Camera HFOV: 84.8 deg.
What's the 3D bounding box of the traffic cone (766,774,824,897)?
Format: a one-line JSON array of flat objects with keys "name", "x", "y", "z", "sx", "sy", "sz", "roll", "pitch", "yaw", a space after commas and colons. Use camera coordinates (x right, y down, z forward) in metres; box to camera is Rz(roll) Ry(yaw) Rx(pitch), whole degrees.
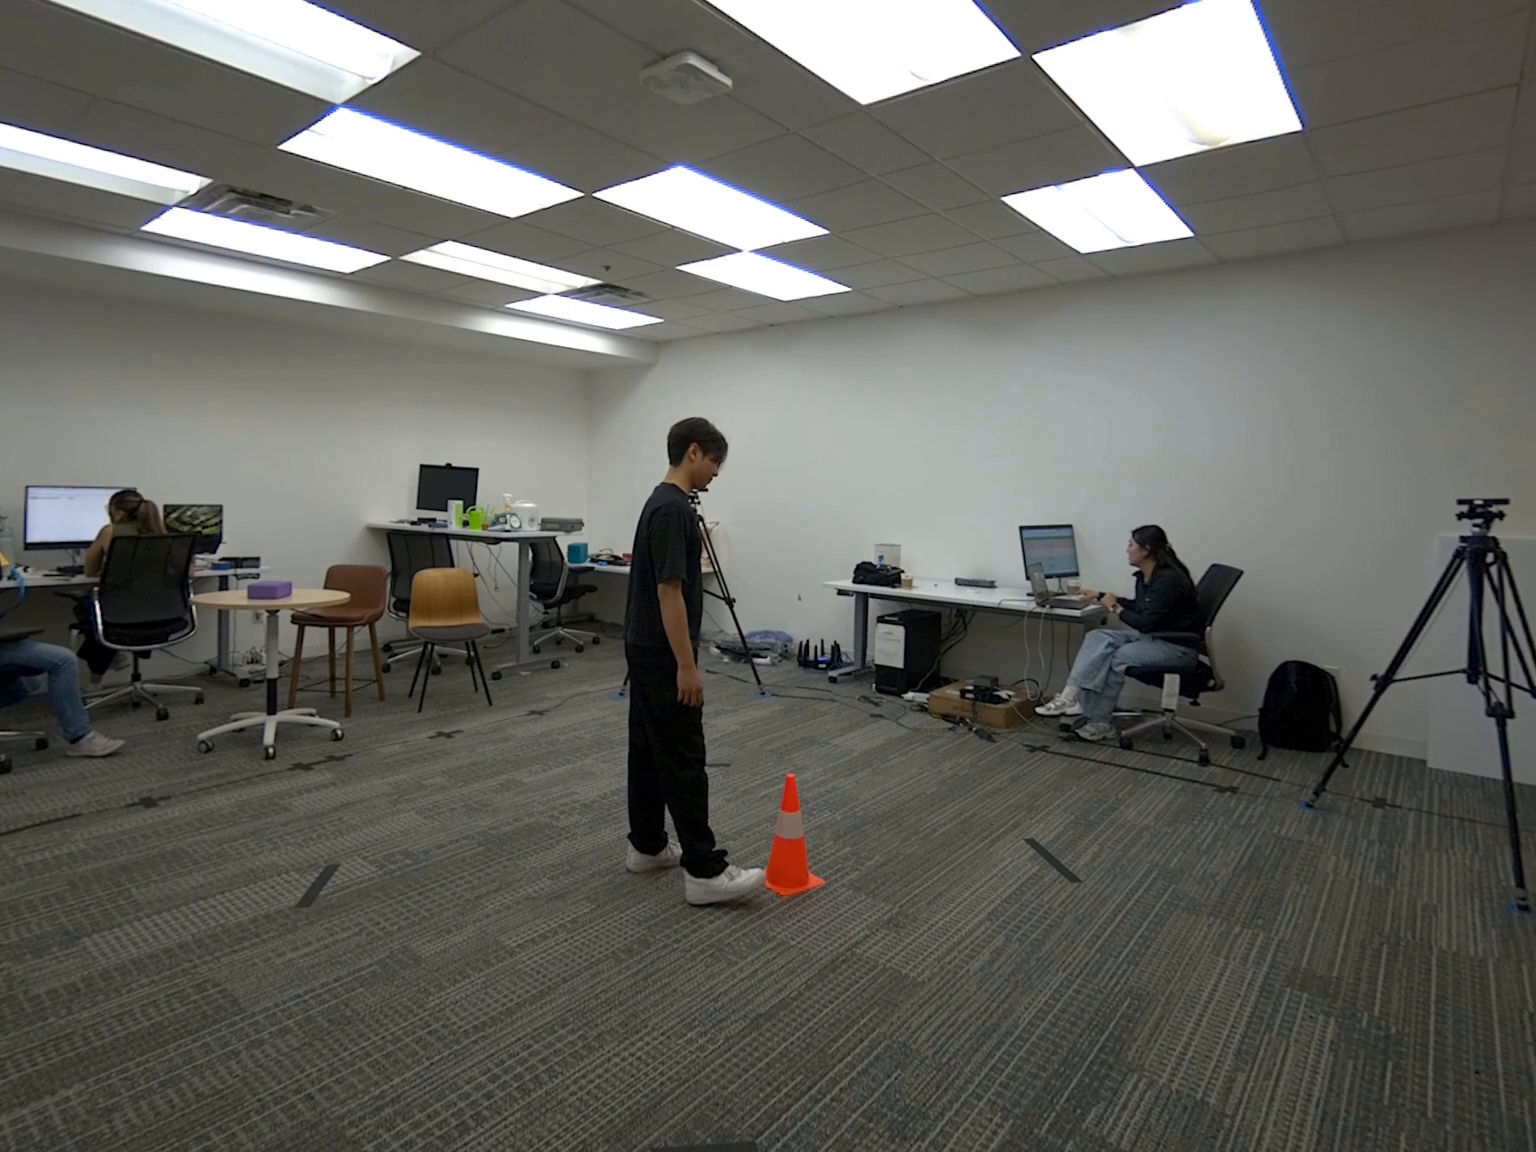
[{"name": "traffic cone", "x": 0.068, "y": 0.902, "z": 3.041, "sx": 0.197, "sy": 0.382, "sz": 0.212, "roll": 0, "pitch": 6, "yaw": -36}]
